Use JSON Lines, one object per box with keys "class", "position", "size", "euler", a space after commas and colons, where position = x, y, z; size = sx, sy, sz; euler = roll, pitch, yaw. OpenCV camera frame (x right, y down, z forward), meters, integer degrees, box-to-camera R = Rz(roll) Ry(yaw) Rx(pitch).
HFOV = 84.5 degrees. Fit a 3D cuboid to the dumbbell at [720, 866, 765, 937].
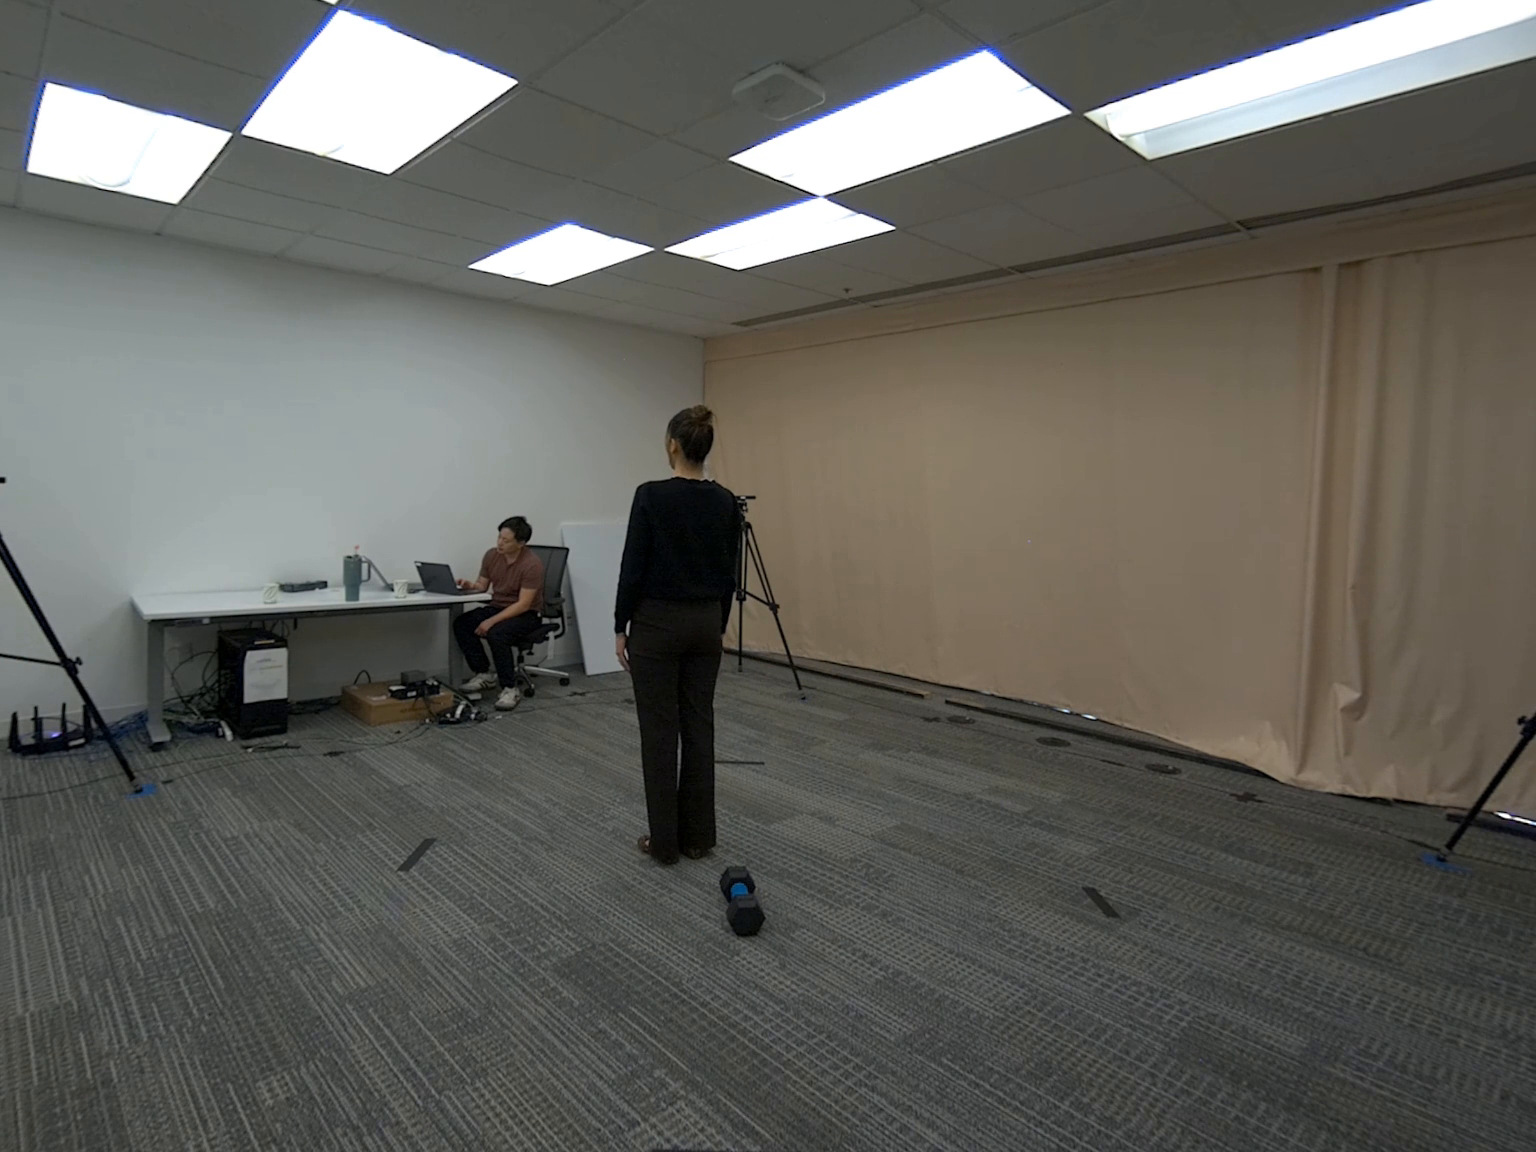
{"class": "dumbbell", "position": [-0.092, 1.083, 2.798], "size": [0.108, 0.123, 0.296], "euler": [31, 0, -10]}
